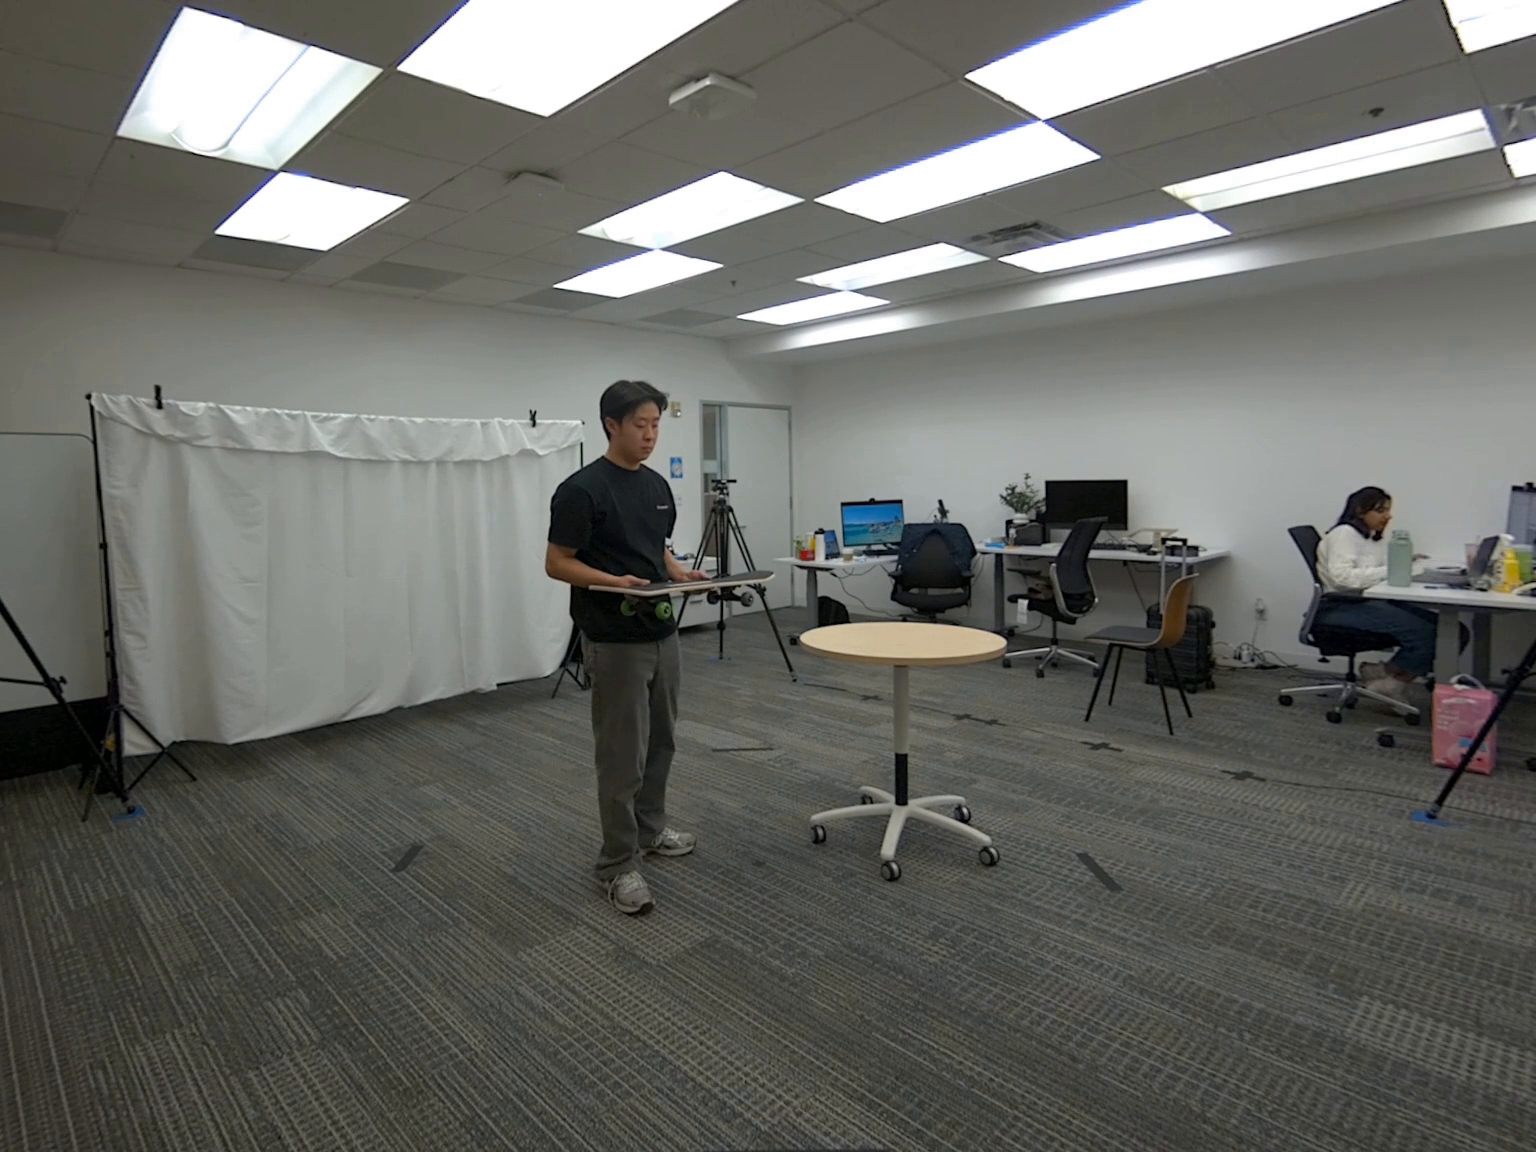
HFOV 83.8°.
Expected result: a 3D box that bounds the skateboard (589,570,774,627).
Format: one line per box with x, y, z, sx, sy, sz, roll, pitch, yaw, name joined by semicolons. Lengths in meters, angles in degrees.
-0.246;0.060;2.768;0.199;0.110;0.764;1;5;42;skateboard
